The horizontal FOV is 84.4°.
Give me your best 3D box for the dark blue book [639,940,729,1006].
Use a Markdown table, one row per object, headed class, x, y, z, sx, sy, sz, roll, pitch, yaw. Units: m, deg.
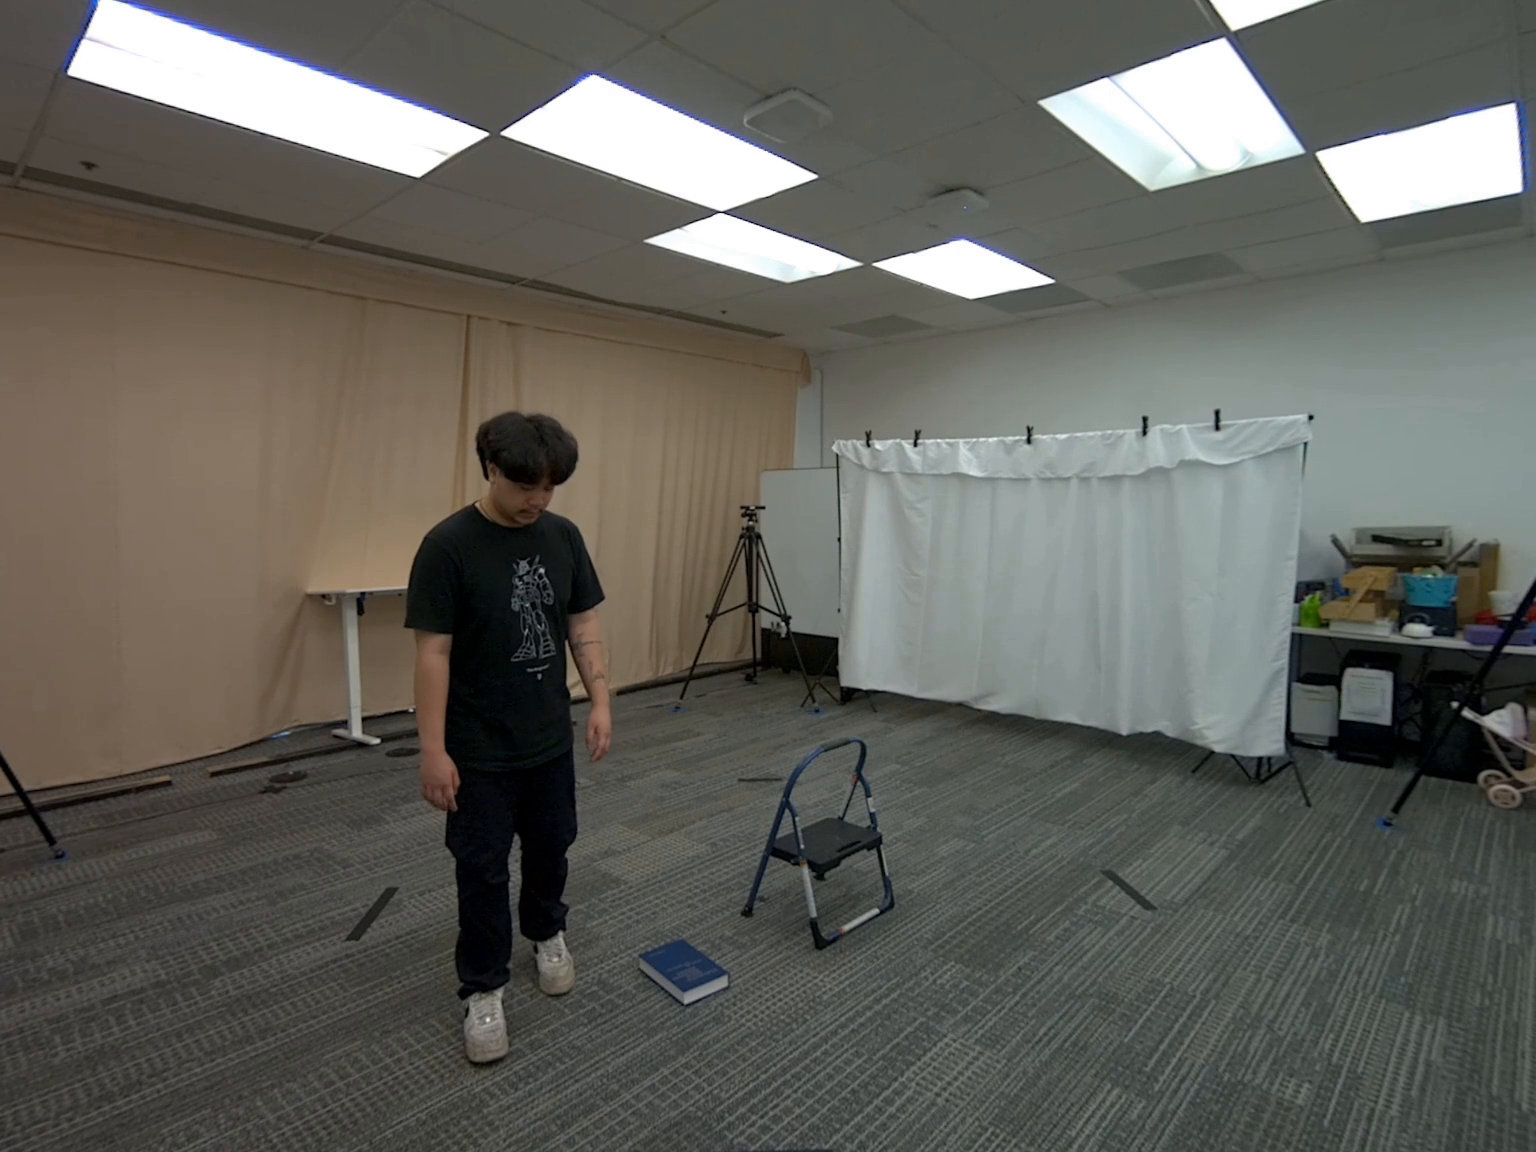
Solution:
| class | x | y | z | sx | sy | sz | roll | pitch | yaw |
| --- | --- | --- | --- | --- | --- | --- | --- | --- | --- |
| dark blue book | -0.250 | 1.171 | 2.473 | 0.158 | 0.045 | 0.253 | -4 | 6 | -39 |
